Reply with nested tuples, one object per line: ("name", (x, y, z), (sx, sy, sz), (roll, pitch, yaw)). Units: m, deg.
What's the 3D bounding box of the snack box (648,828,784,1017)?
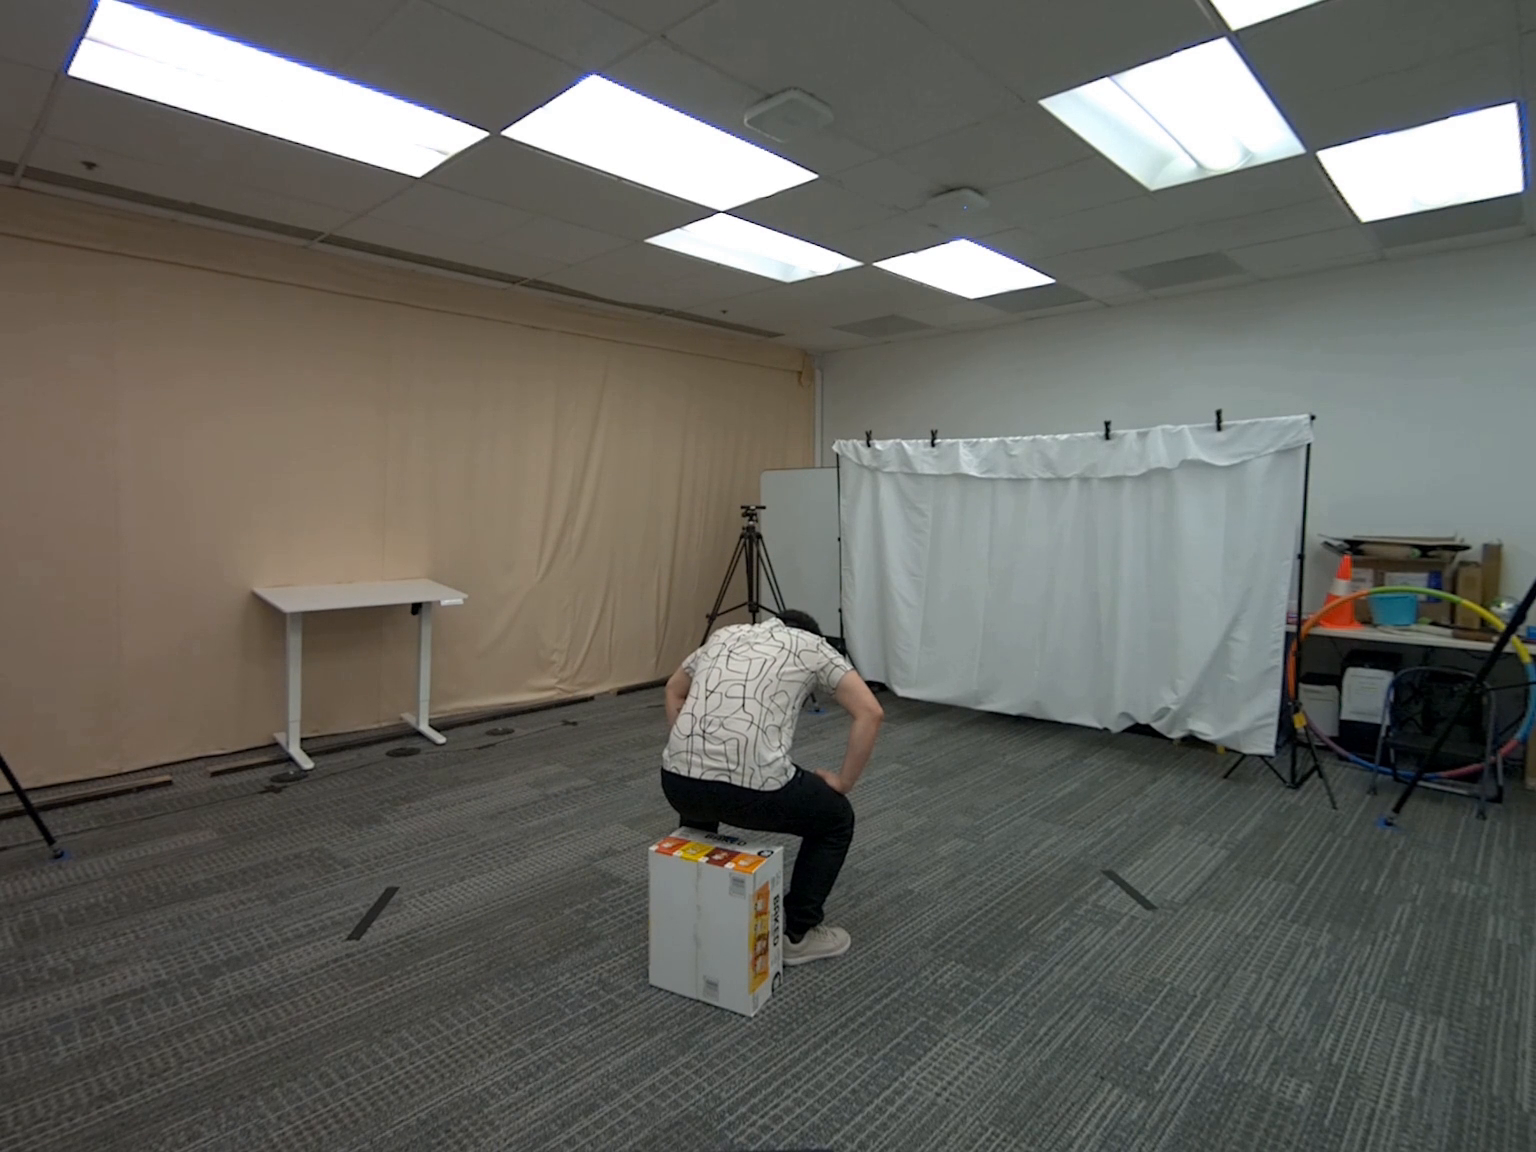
("snack box", (-0.148, 0.987, 2.438), (0.349, 0.404, 0.200), (2, 3, 27))
